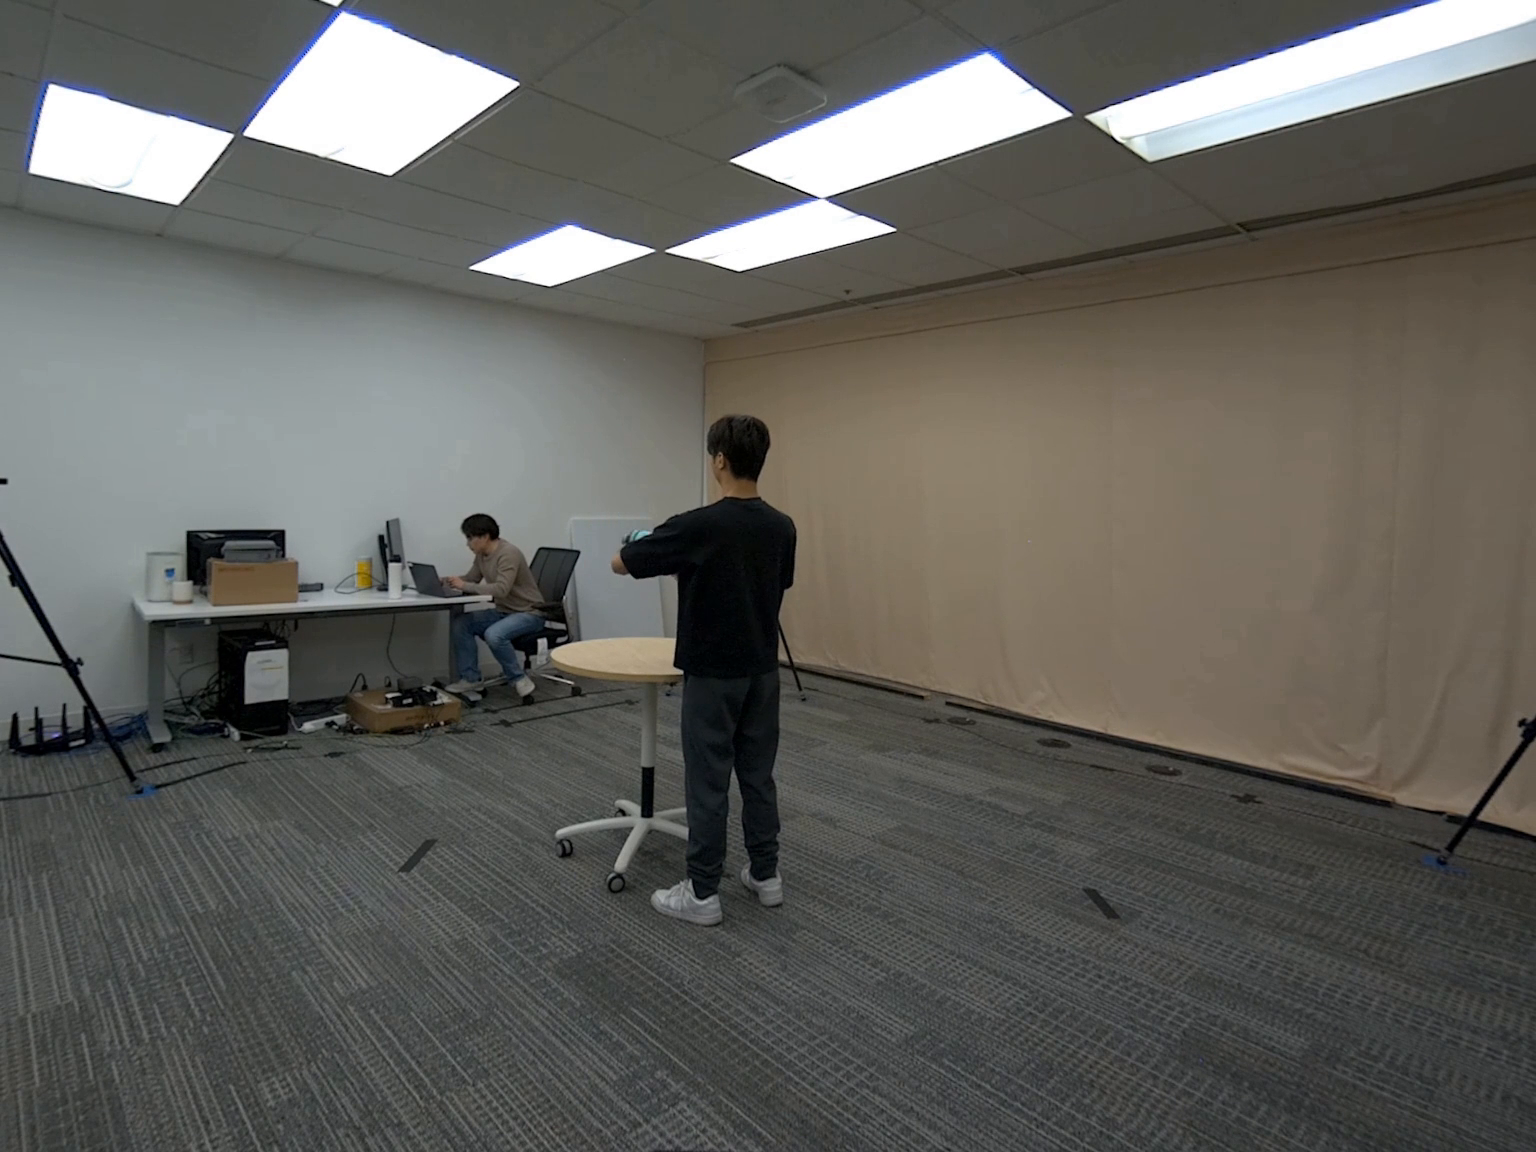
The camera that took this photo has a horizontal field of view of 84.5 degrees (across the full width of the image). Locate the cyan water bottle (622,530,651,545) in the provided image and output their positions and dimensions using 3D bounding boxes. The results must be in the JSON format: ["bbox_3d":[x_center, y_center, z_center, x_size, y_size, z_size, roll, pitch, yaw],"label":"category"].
[{"bbox_3d":[-0.392,-0.100,3.030,0.289,0.092,0.091,13,8,21],"label":"cyan water bottle"}]
